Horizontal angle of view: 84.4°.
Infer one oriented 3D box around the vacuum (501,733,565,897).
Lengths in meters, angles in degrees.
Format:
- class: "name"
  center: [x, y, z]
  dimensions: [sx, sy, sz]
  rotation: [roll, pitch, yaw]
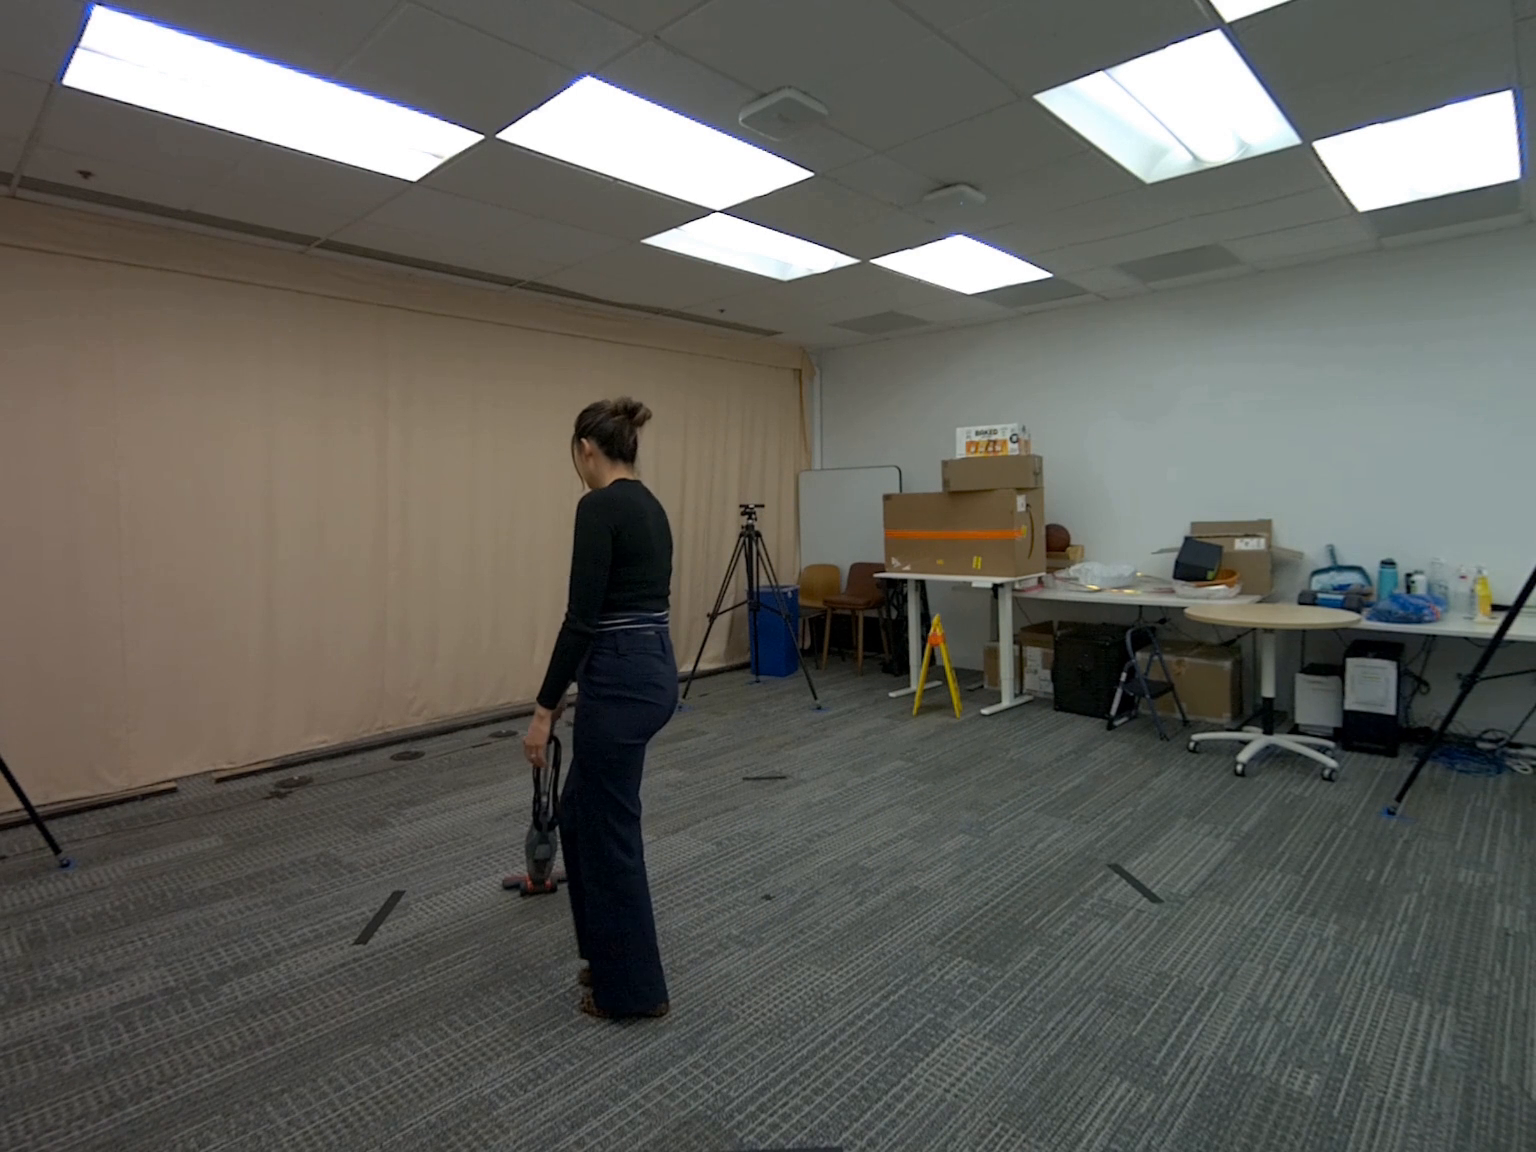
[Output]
- class: "vacuum"
  center: [-0.740, 0.758, 2.784]
  dimensions: [0.247, 1.040, 0.149]
  rotation: [-10, 47, -29]
